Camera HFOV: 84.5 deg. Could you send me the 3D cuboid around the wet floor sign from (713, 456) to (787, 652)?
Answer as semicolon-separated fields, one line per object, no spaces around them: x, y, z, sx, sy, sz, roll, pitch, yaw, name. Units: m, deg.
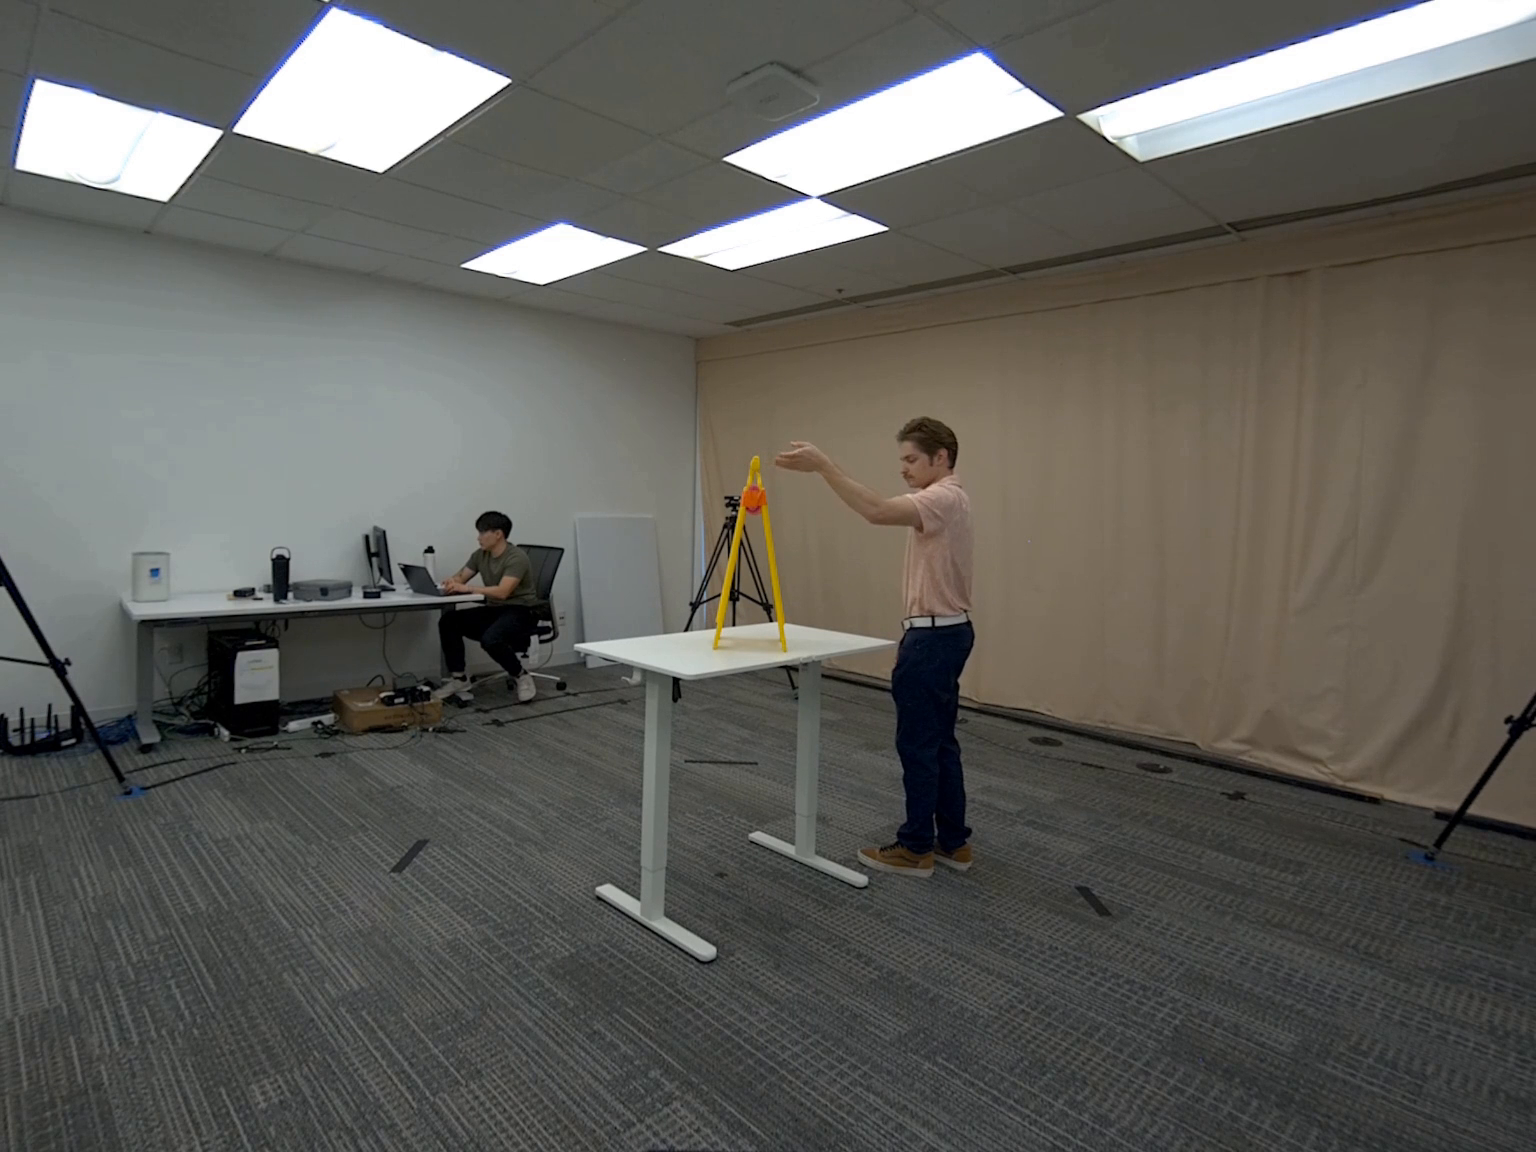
-0.061;-0.083;2.917;0.290;0.644;0.283;2;4;1;wet floor sign
